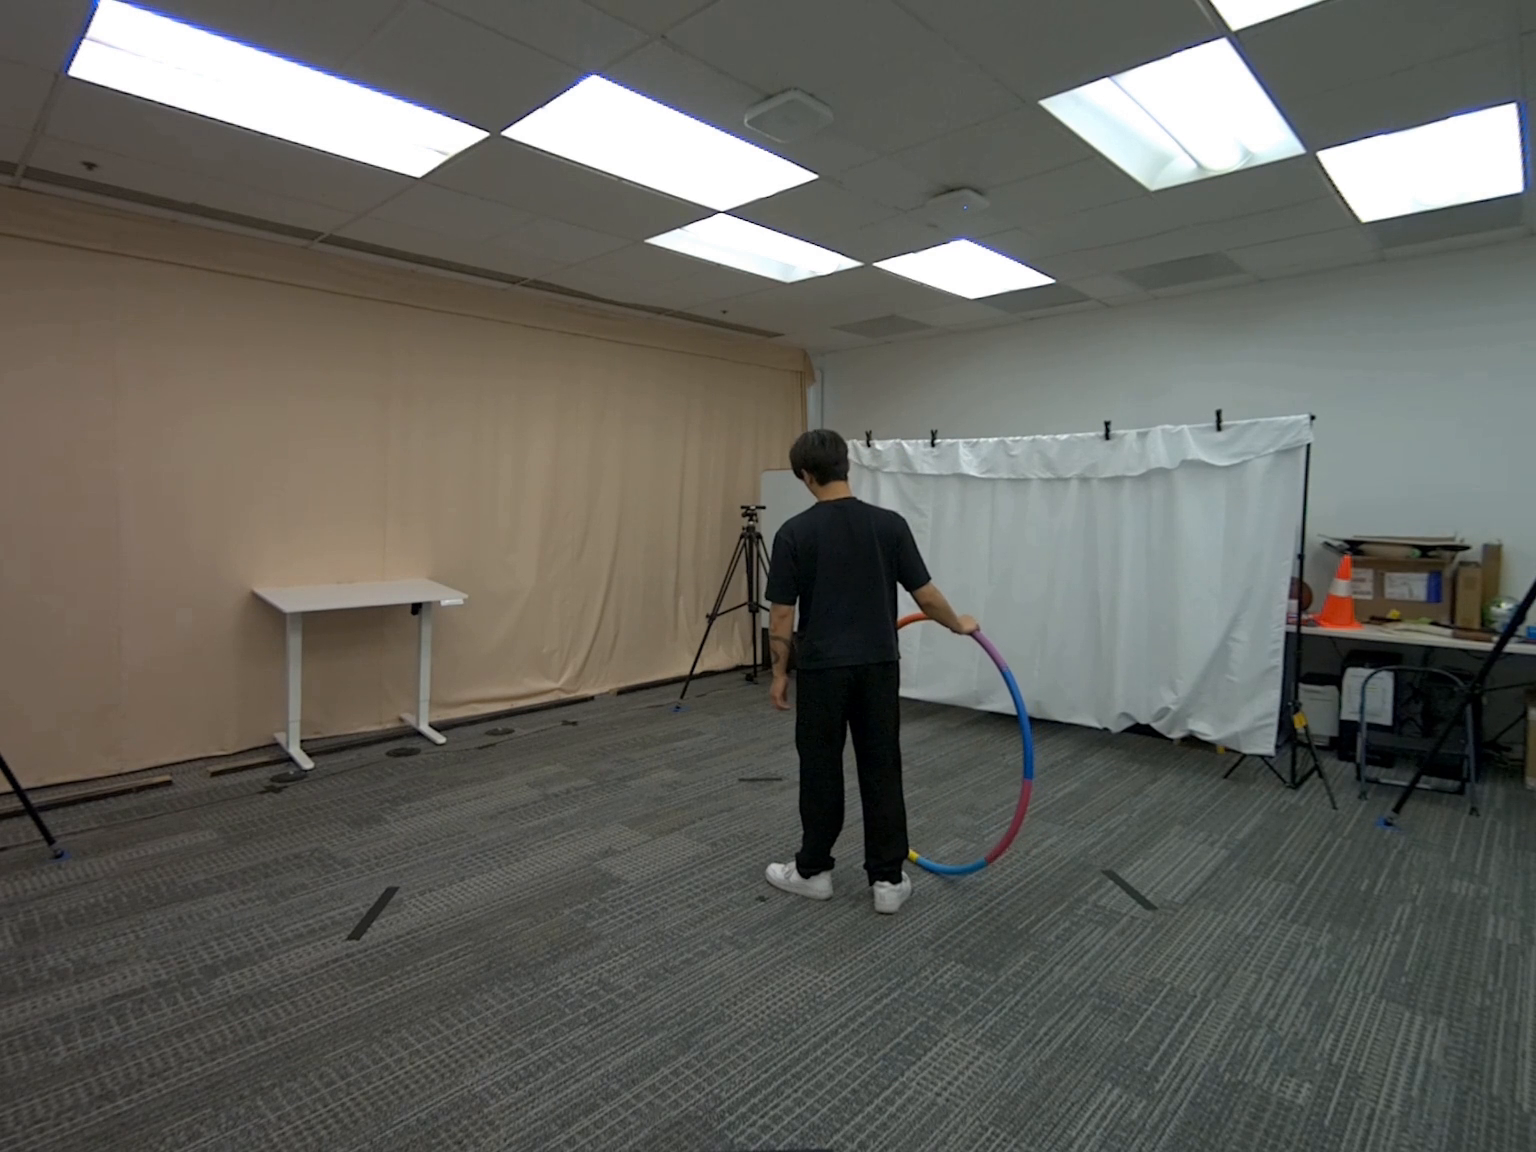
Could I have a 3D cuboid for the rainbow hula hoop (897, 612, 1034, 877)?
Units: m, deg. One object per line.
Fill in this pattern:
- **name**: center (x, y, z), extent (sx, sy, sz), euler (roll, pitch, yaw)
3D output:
- **rainbow hula hoop**: center (0.626, 0.632, 3.255), extent (0.034, 0.978, 1.007), euler (3, 2, -30)
